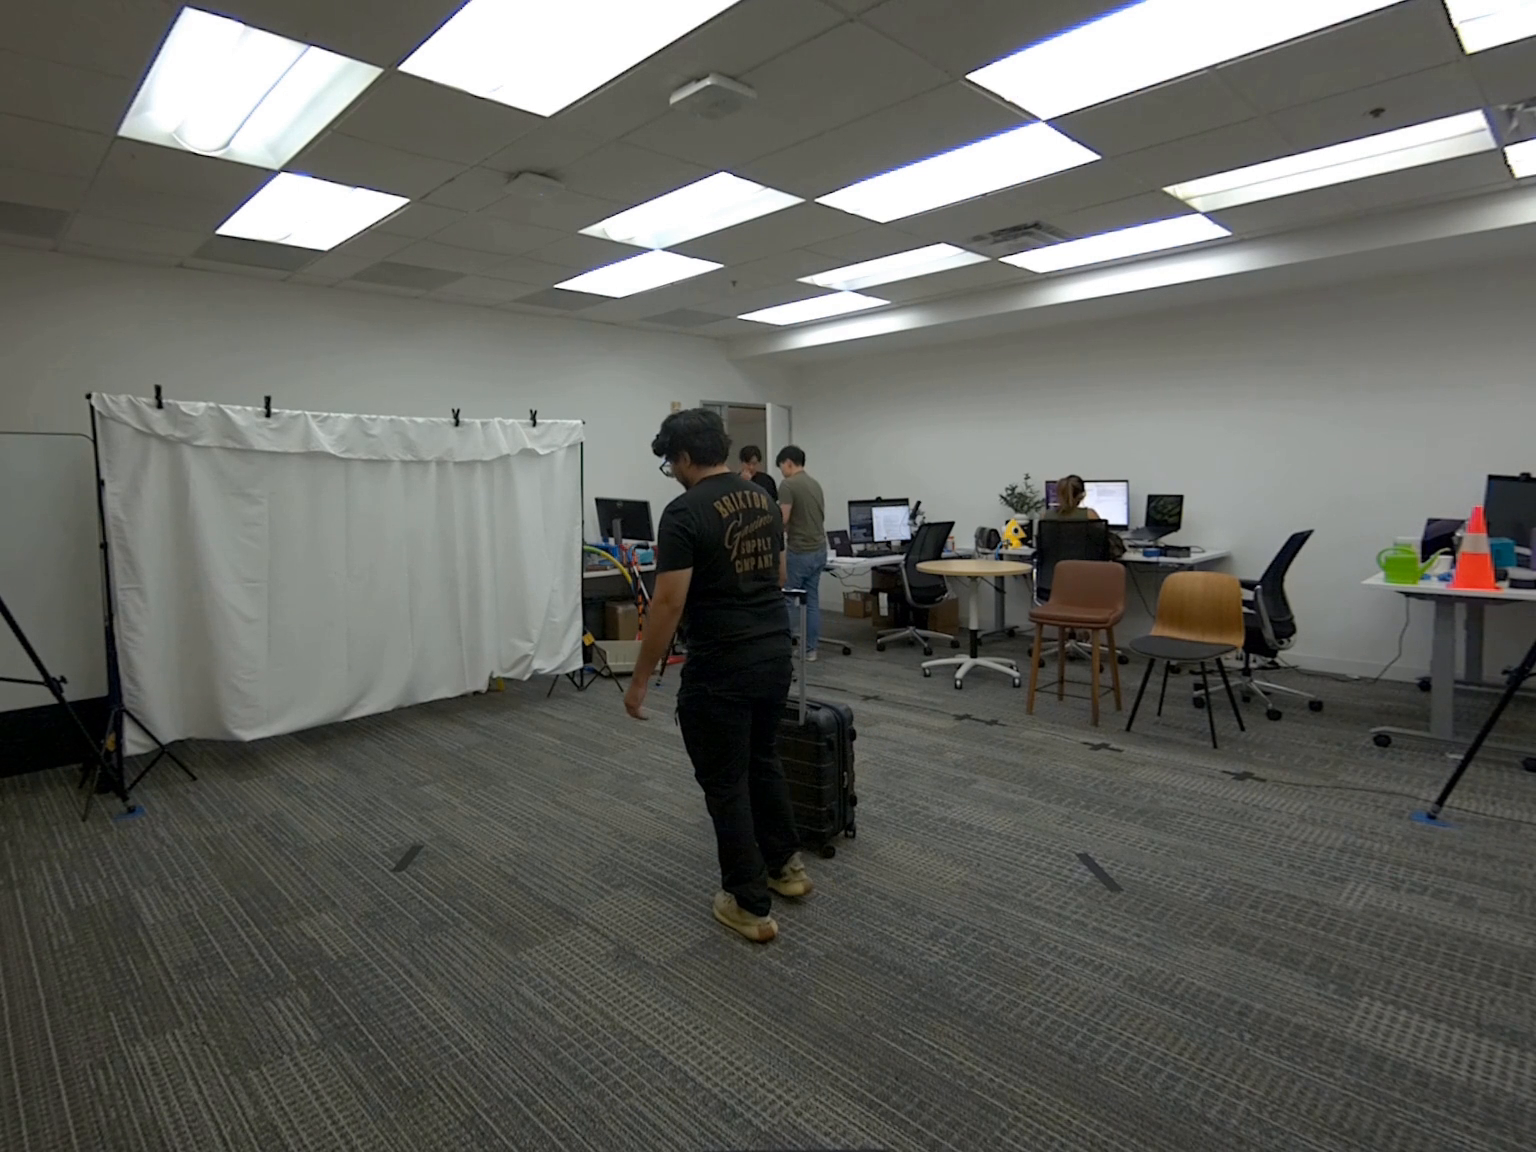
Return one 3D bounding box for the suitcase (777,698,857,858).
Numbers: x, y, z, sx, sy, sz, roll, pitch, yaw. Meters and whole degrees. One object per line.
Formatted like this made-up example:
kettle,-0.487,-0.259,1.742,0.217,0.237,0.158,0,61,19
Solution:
suitcase,0.143,0.545,3.309,0.395,0.977,0.250,1,2,34
